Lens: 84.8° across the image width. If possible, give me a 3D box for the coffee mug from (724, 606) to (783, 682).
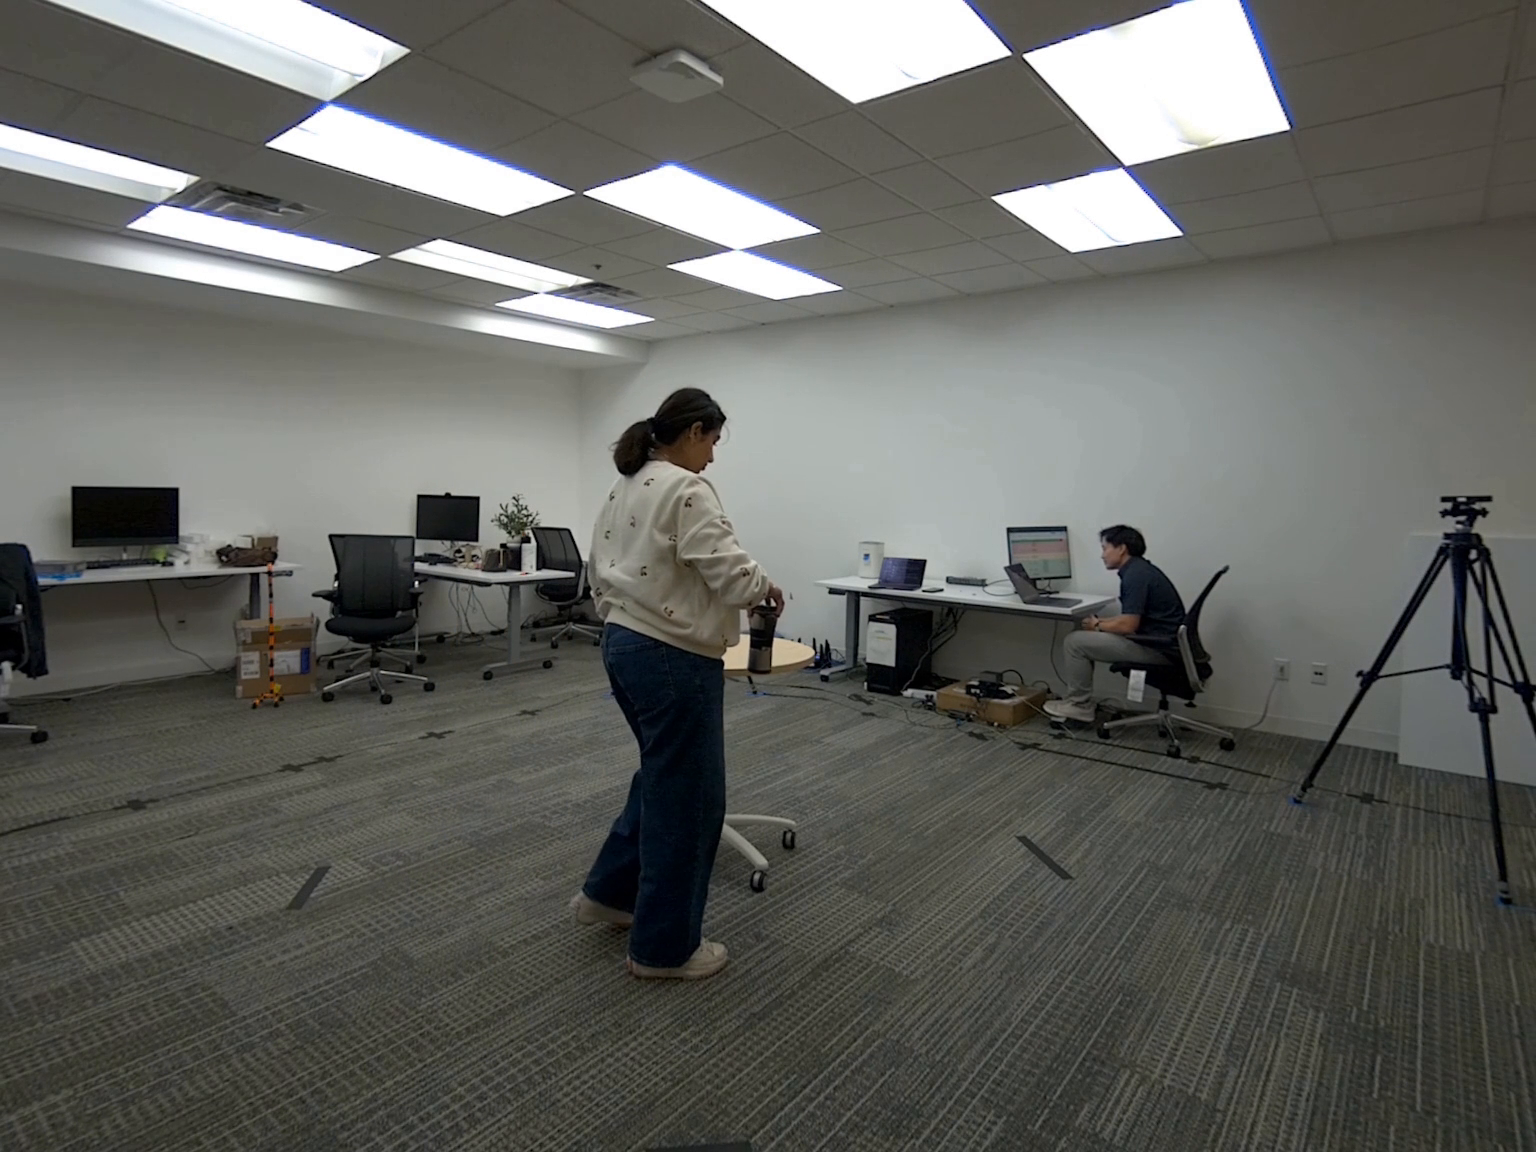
[{"bbox_3d":[-0.046,0.194,2.493,0.118,0.202,0.091,1,9,-45],"label":"coffee mug"}]
